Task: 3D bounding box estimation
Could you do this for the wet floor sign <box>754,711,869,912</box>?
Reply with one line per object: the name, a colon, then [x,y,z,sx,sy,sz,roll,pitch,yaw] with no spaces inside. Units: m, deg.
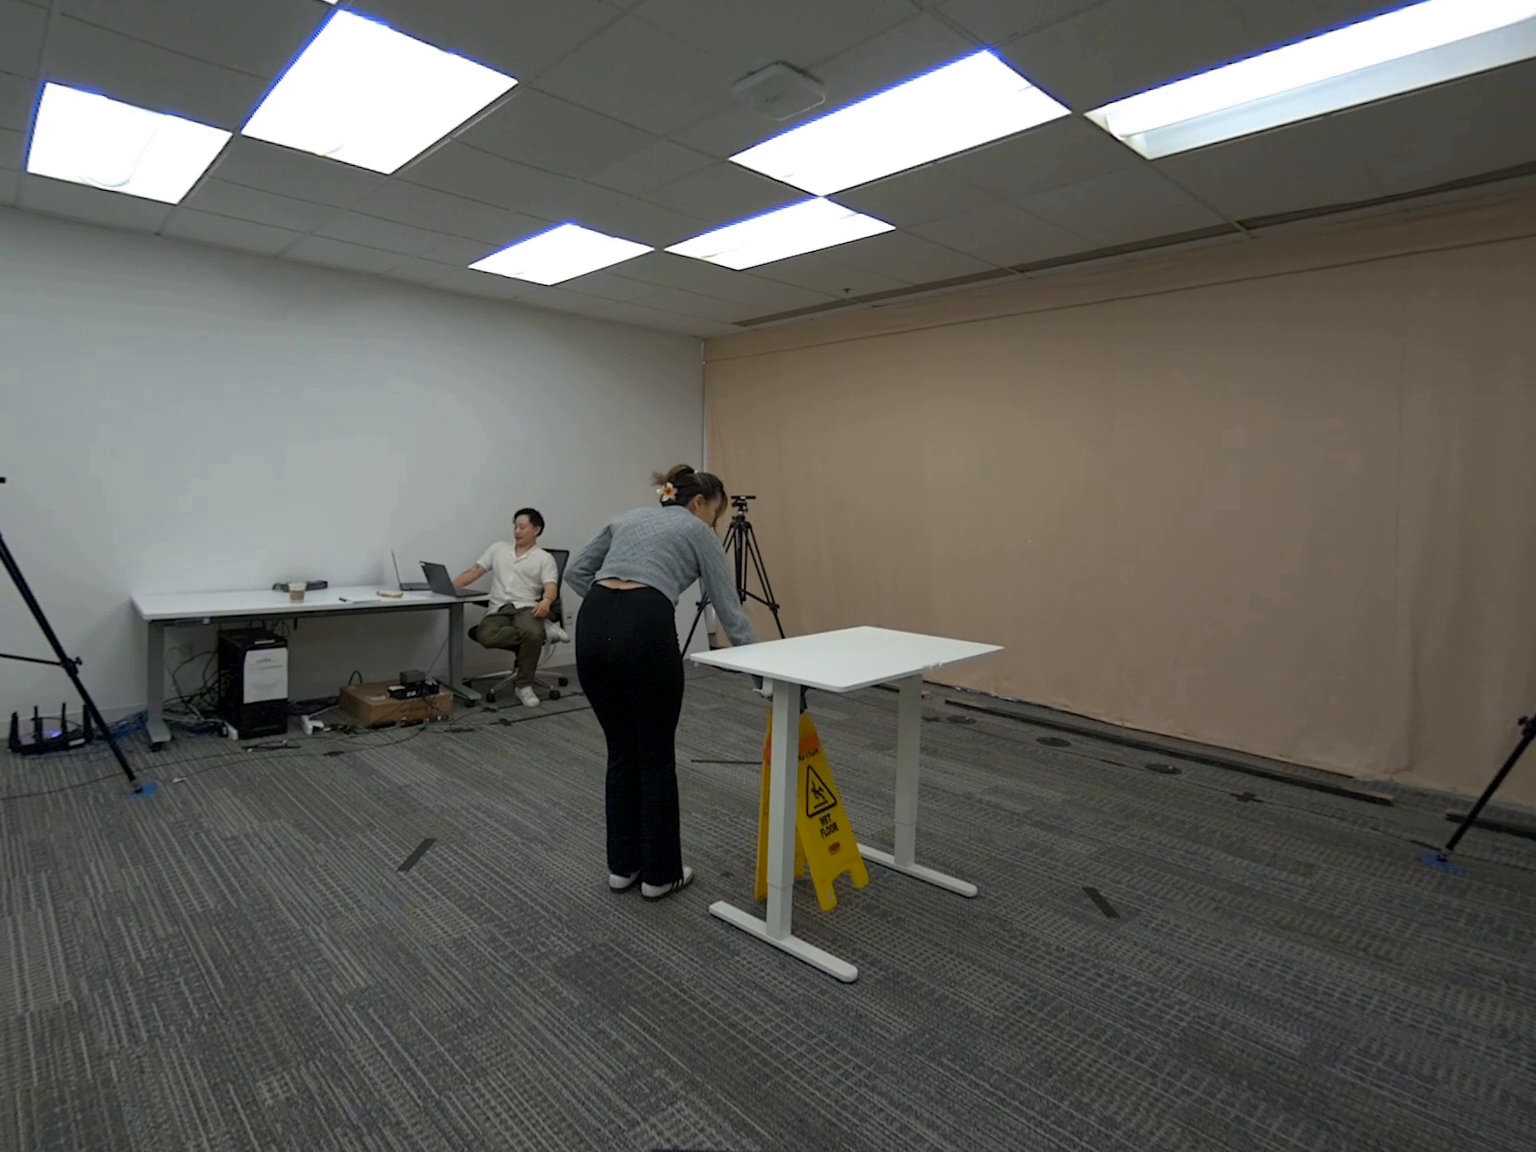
wet floor sign: [0.100,0.767,2.923,0.295,0.647,0.276,-10,-3,39]
